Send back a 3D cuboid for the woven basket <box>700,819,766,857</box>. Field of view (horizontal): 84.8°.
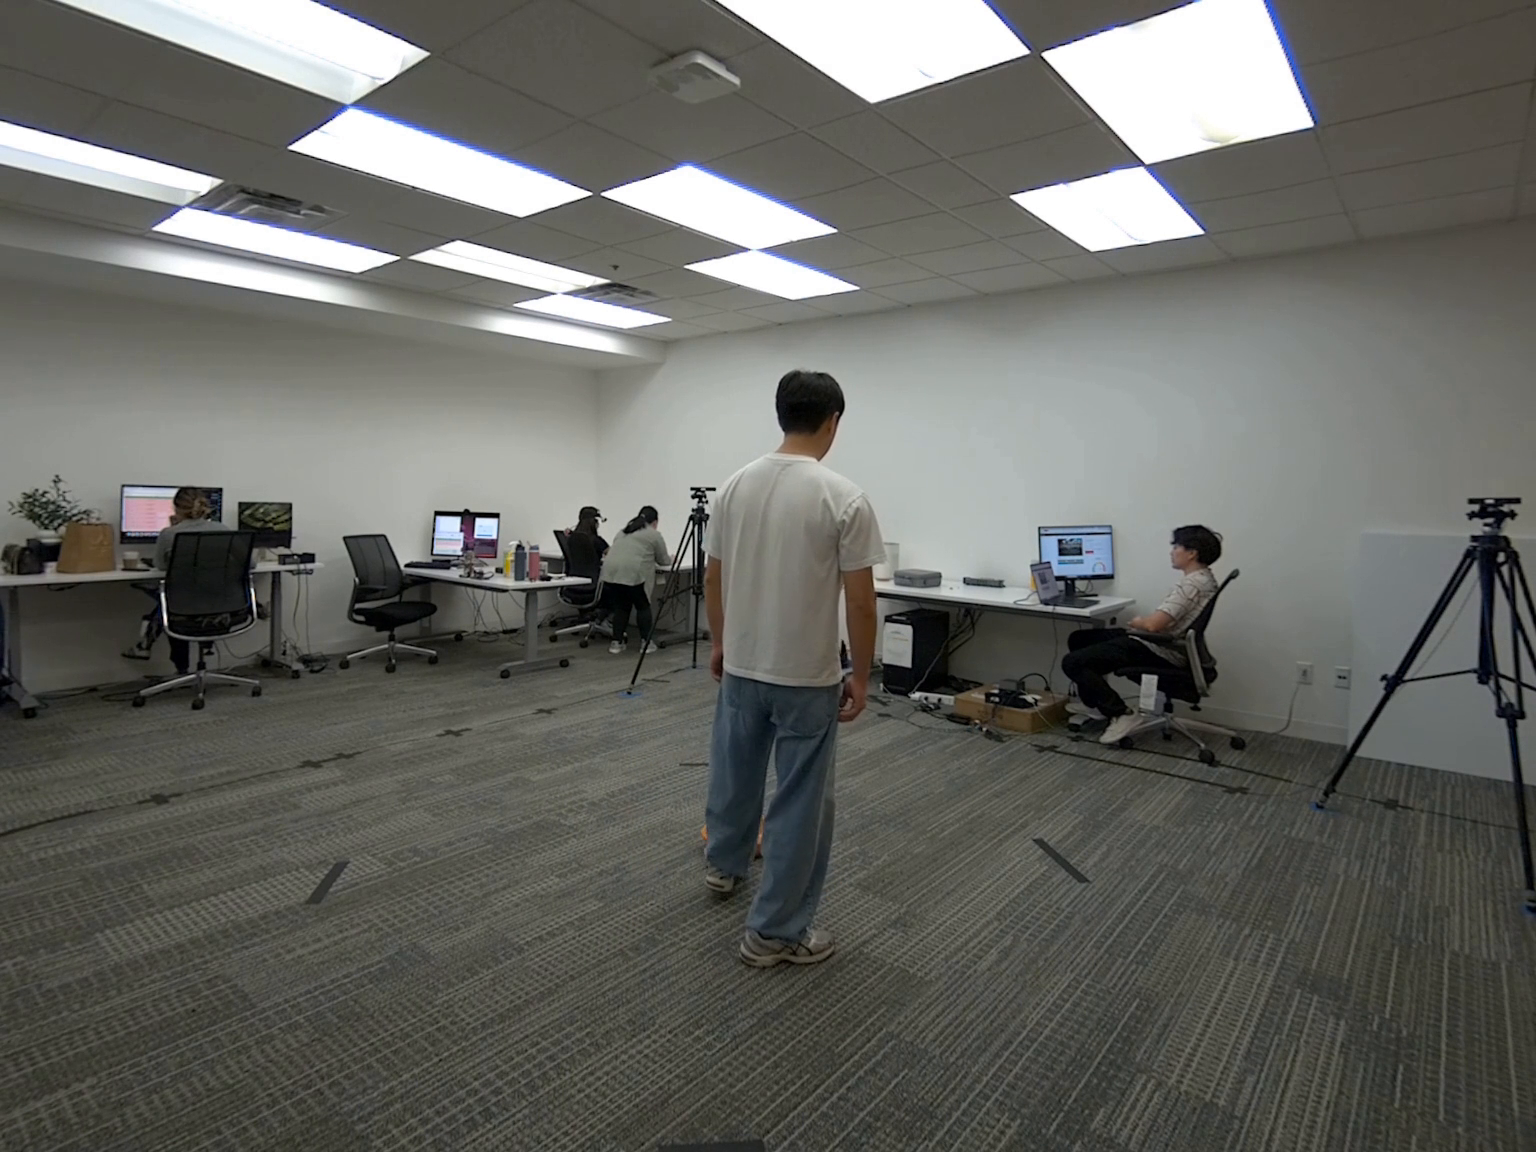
[{"bbox_3d":[-0.102,1.002,3.281,0.340,0.073,0.260,-2,6,-34],"label":"woven basket"}]
